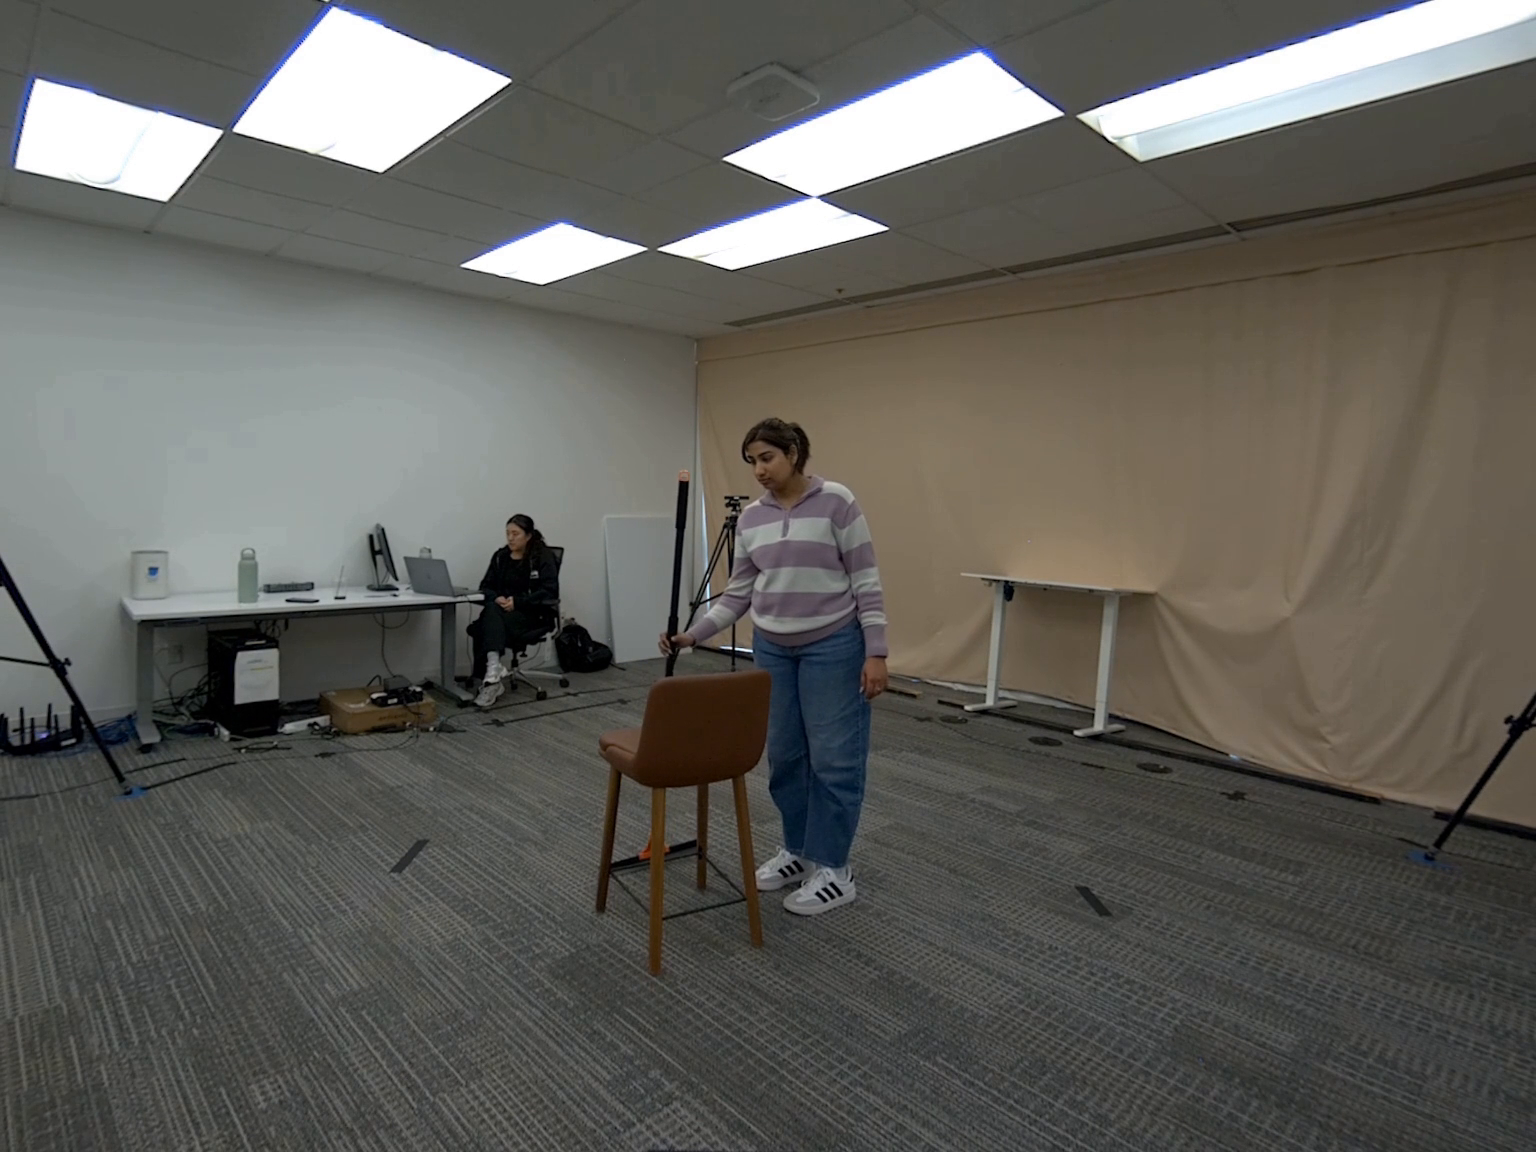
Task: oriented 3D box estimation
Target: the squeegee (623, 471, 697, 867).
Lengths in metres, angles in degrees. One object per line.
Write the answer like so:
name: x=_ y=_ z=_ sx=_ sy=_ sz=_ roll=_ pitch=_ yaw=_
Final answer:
squeegee: x=-0.362 y=0.374 z=2.884 sx=0.430 sy=1.516 sz=0.054 roll=-9 pitch=26 yaw=-30
